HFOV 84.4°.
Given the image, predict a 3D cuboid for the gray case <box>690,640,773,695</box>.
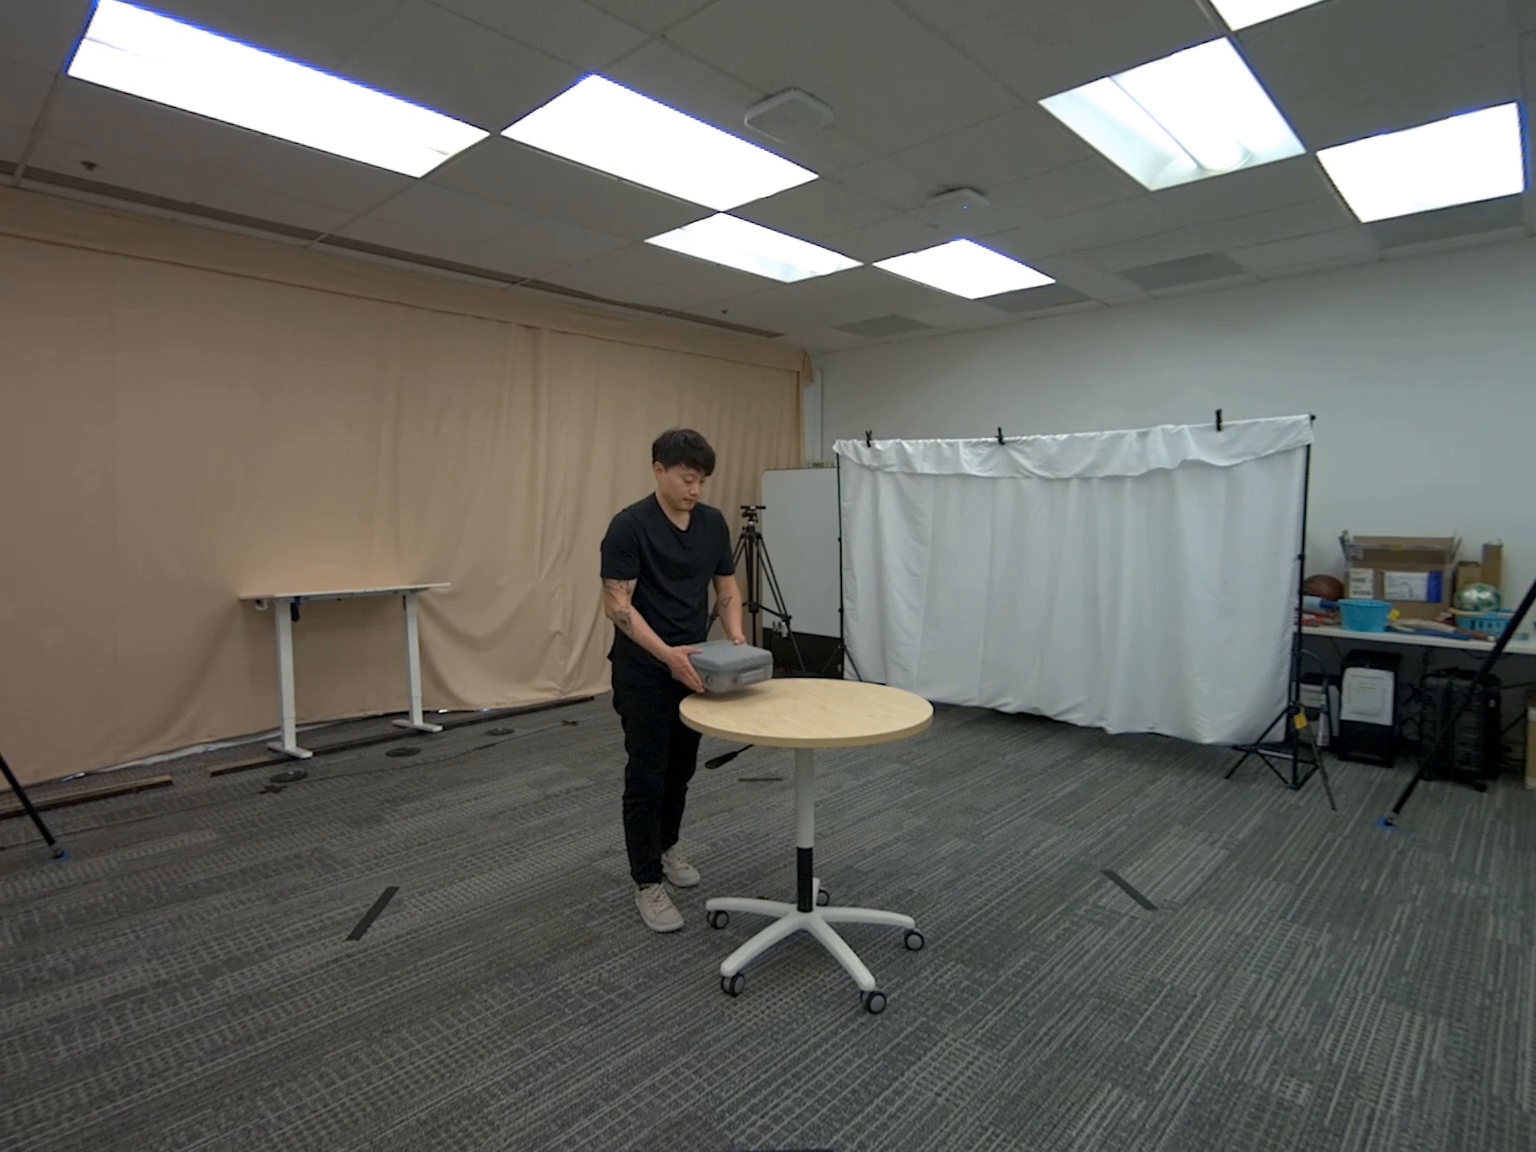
[{"bbox_3d":[-0.146,0.289,2.739,0.270,0.104,0.249,10,11,43],"label":"gray case"}]
